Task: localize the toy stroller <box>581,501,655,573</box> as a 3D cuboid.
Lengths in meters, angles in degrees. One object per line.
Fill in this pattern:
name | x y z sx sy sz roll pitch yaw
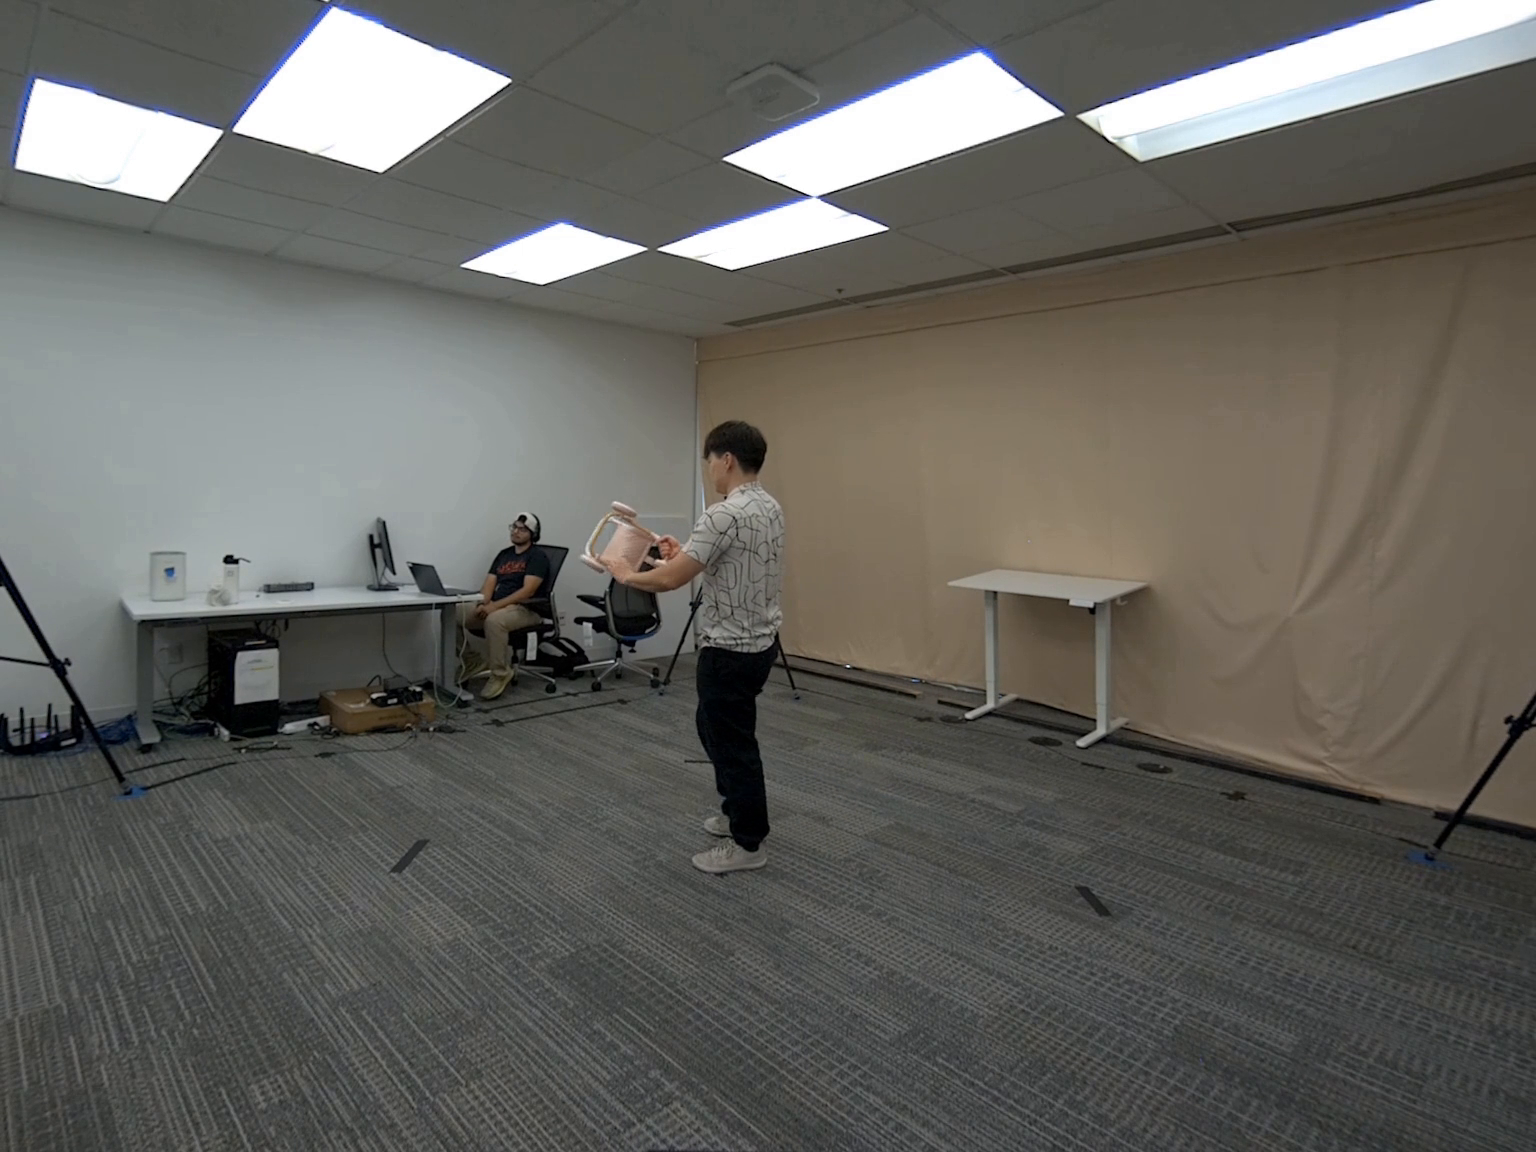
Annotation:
toy stroller | -0.583 -0.104 3.493 0.338 0.282 0.539 26 -7 -11
